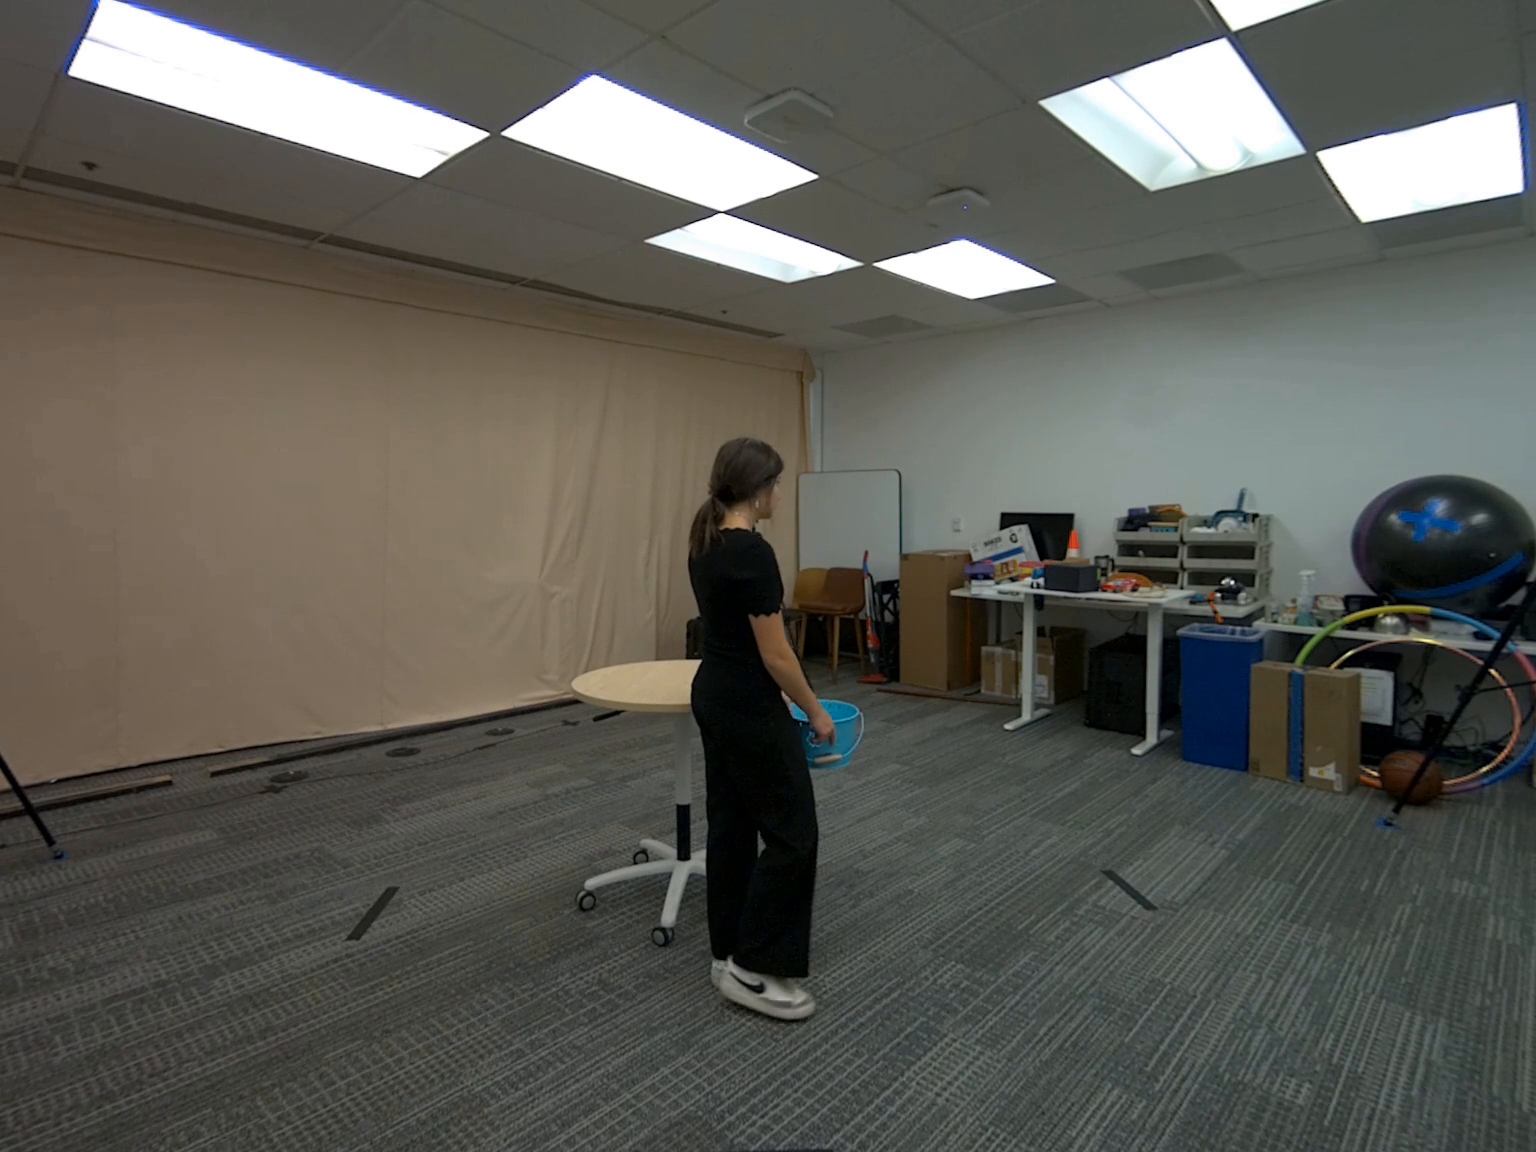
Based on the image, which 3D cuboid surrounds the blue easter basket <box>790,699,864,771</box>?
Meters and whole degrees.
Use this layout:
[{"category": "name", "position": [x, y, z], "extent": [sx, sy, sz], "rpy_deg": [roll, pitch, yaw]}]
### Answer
[{"category": "blue easter basket", "position": [0.161, 0.495, 2.538], "extent": [0.243, 0.155, 0.245], "rpy_deg": [-1, 6, -2]}]
